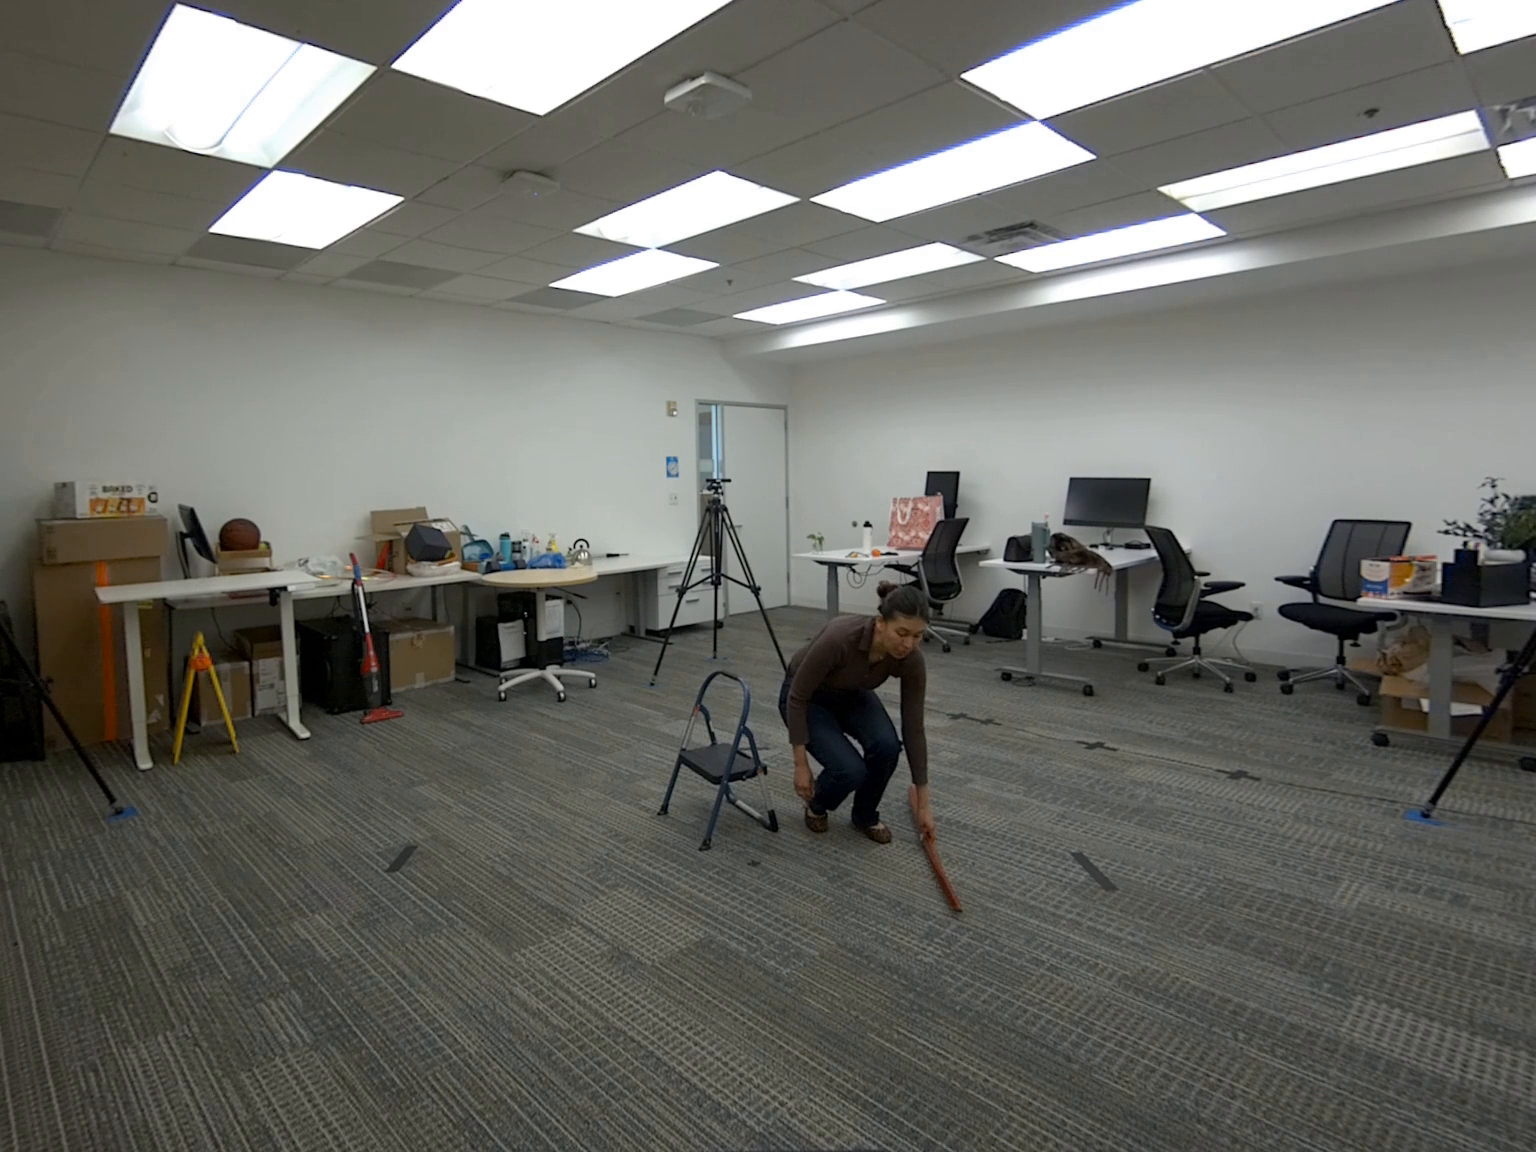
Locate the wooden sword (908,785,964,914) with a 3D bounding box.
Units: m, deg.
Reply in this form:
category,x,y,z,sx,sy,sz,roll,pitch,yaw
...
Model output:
category,x,y,z,sx,sy,sz,roll,pitch,yaw
wooden sword,0.581,0.980,3.201,0.051,0.024,1.026,43,6,-3
